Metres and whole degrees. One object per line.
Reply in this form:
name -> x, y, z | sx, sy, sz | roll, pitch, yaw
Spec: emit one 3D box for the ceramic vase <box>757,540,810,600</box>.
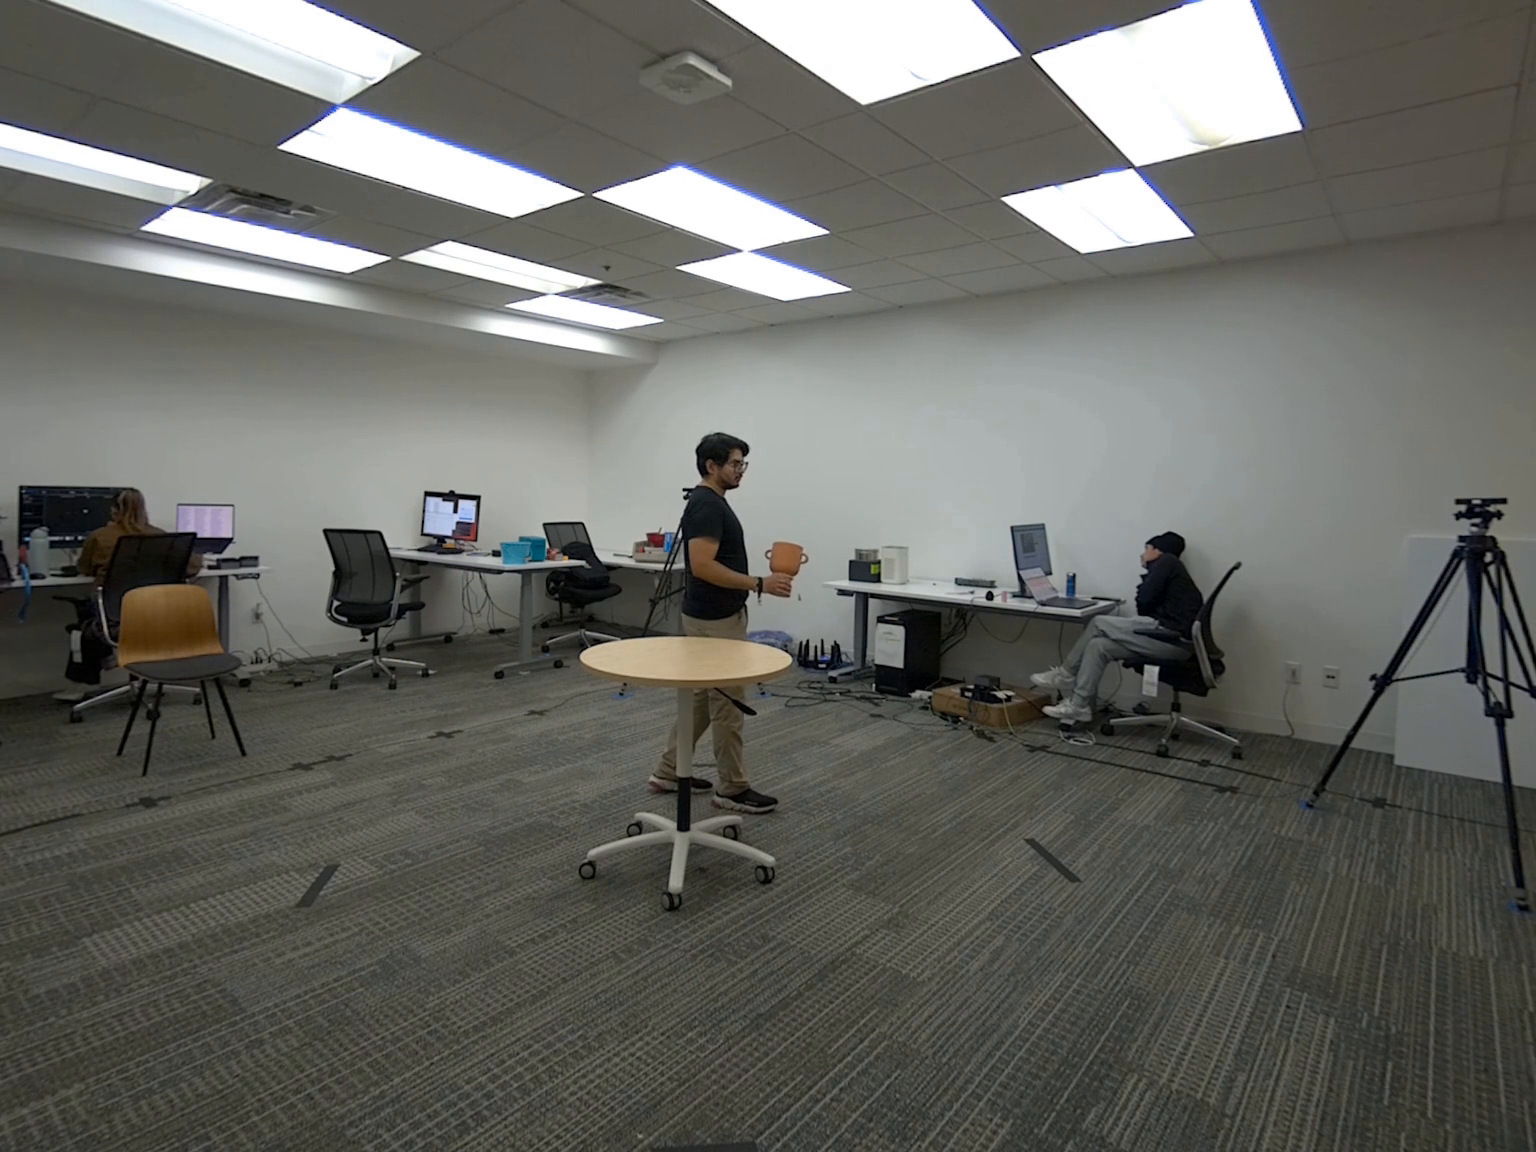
ceramic vase -> 0.058, -0.026, 3.637 | 0.130, 0.221, 0.162 | 17, -12, -27
